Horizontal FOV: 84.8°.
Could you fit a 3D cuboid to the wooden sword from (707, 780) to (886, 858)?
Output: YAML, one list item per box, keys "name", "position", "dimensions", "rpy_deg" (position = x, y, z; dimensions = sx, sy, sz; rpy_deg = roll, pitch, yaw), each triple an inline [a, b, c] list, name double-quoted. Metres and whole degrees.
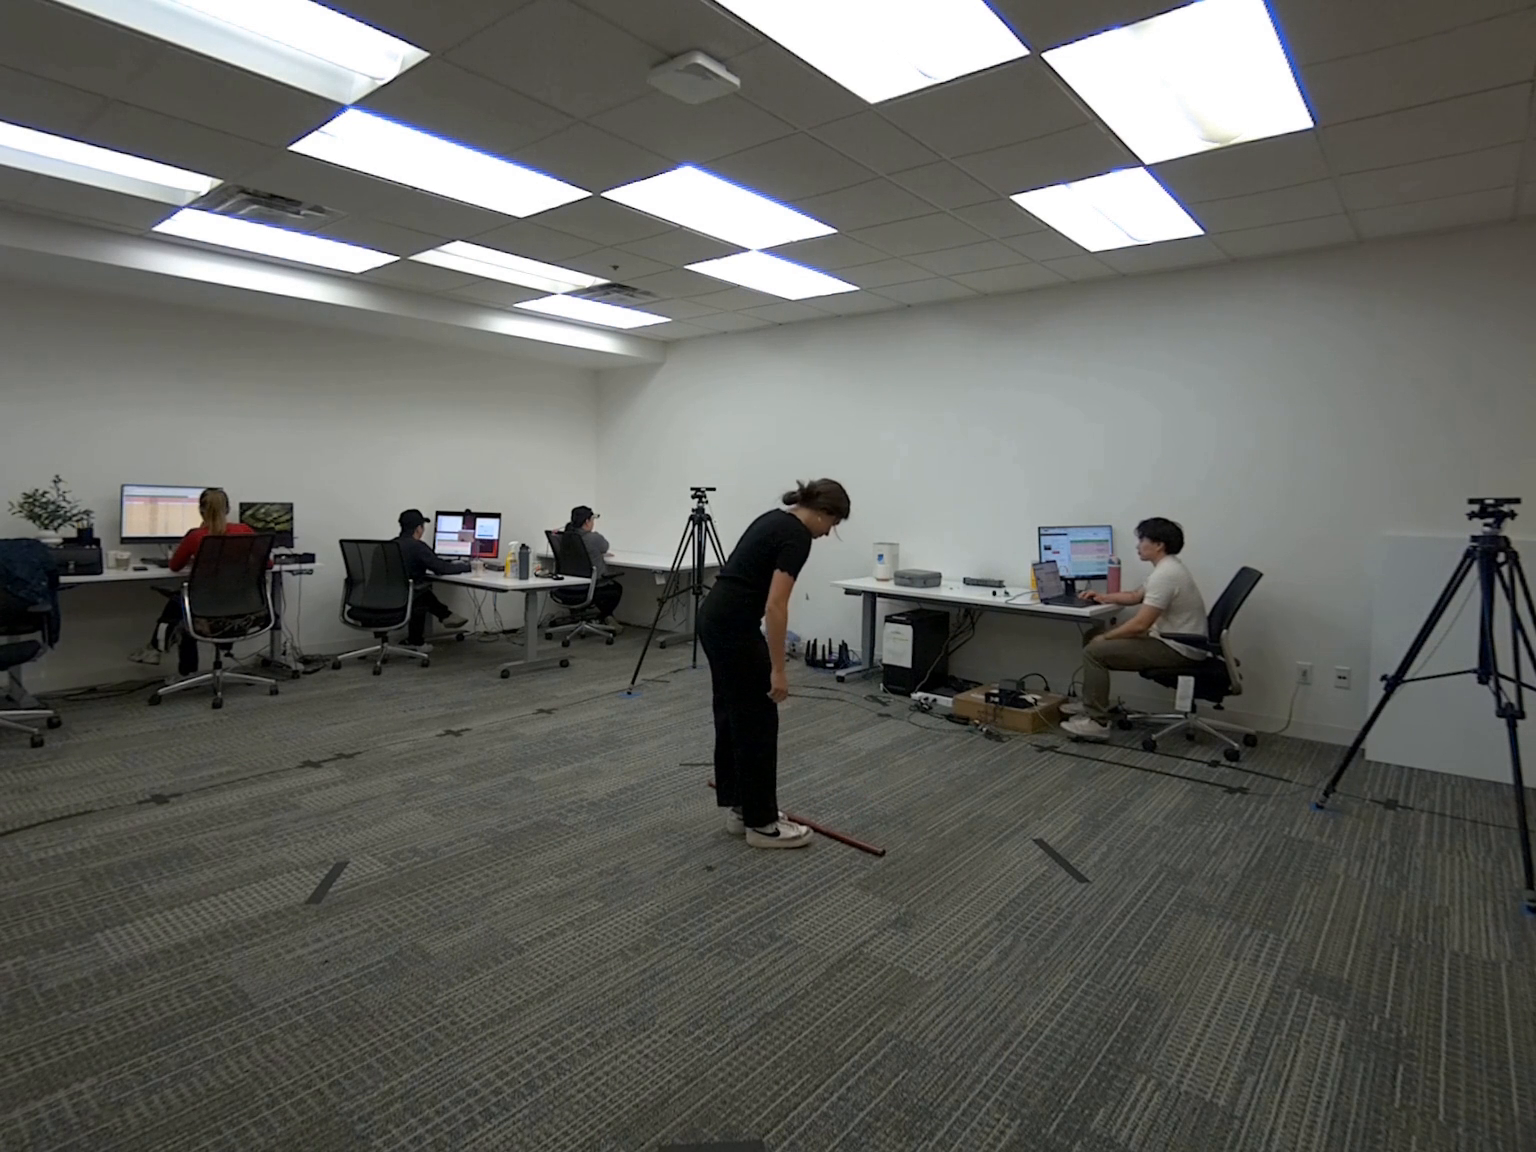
- name: "wooden sword"
  position: [0.065, 1.005, 3.625]
  dimensions: [0.050, 0.024, 1.060]
  rpy_deg: [-1, 6, -42]
